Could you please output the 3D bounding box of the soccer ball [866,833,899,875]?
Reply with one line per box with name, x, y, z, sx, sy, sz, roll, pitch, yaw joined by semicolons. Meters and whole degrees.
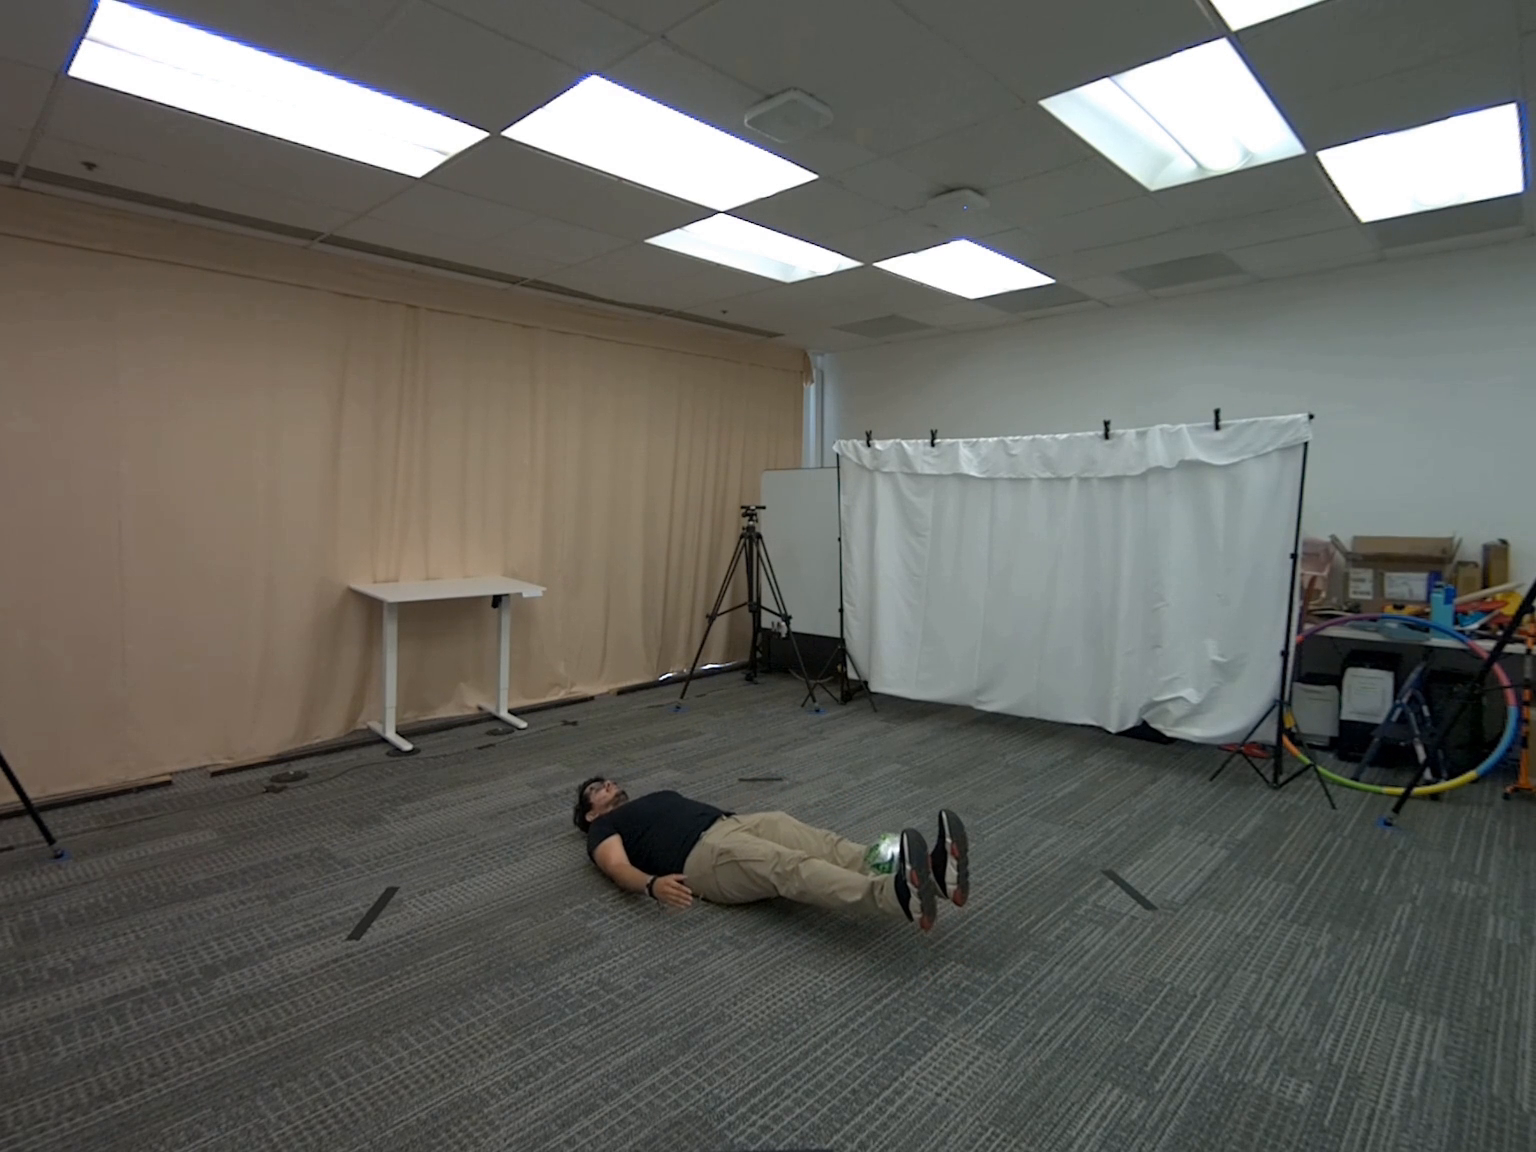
soccer ball;0.406;0.919;2.653;0.187;0.187;0.188;0;4;-2
